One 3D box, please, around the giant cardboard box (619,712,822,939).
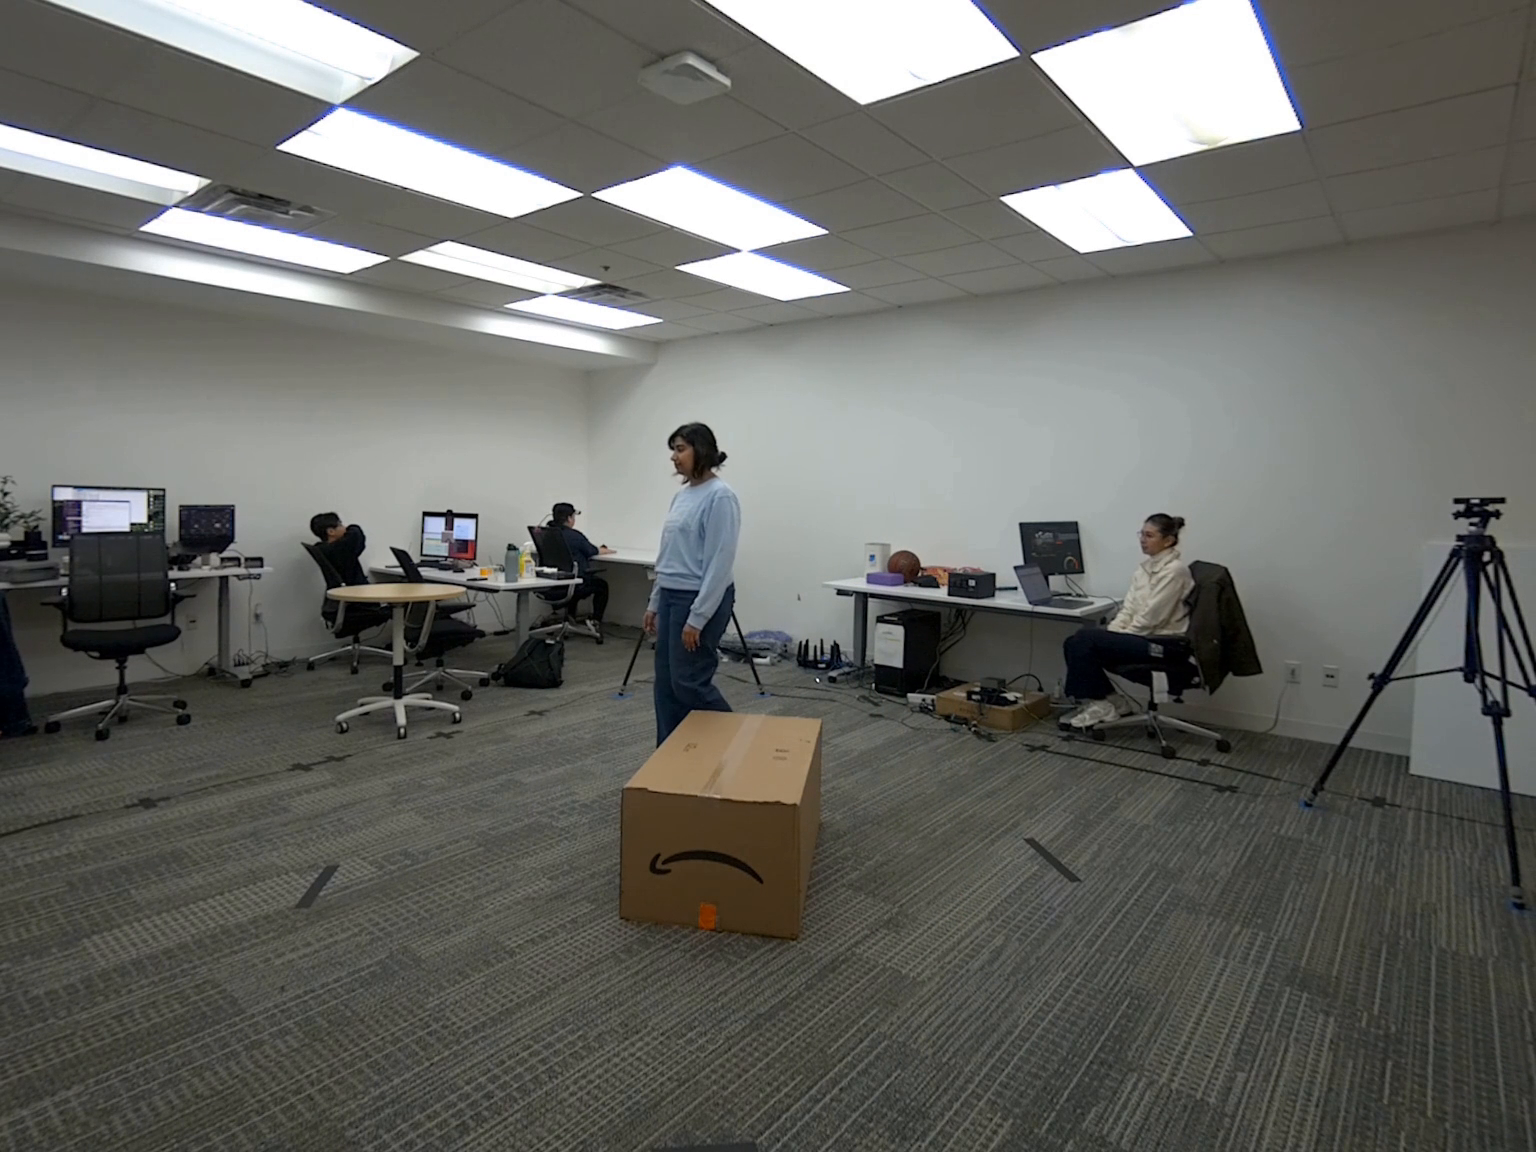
[{"bbox_3d":[-0.134,0.849,3.161,0.584,0.425,1.018,2,5,9],"label":"giant cardboard box"}]
